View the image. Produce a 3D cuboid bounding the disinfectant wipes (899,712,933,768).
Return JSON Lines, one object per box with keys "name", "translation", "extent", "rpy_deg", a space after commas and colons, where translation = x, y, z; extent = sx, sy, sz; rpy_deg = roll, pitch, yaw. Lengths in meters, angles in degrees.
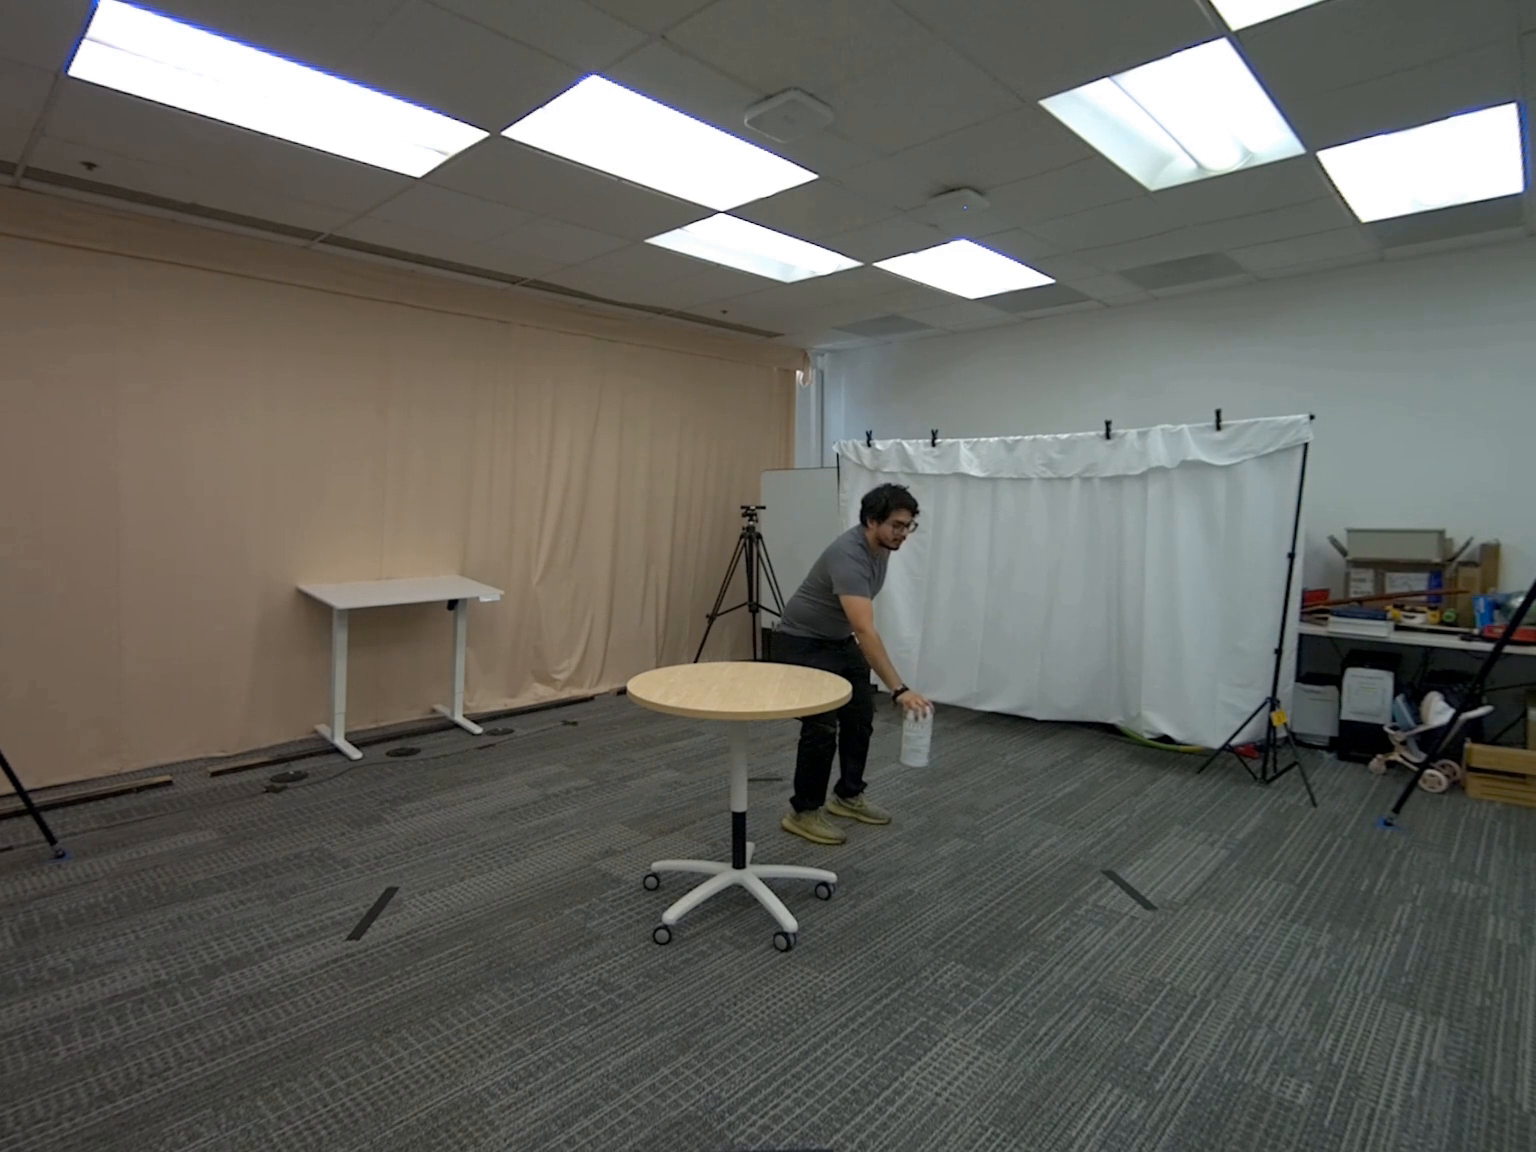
{"name": "disinfectant wipes", "translation": [0.566, 0.598, 3.168], "extent": [0.117, 0.216, 0.118], "rpy_deg": [3, 9, -2]}
